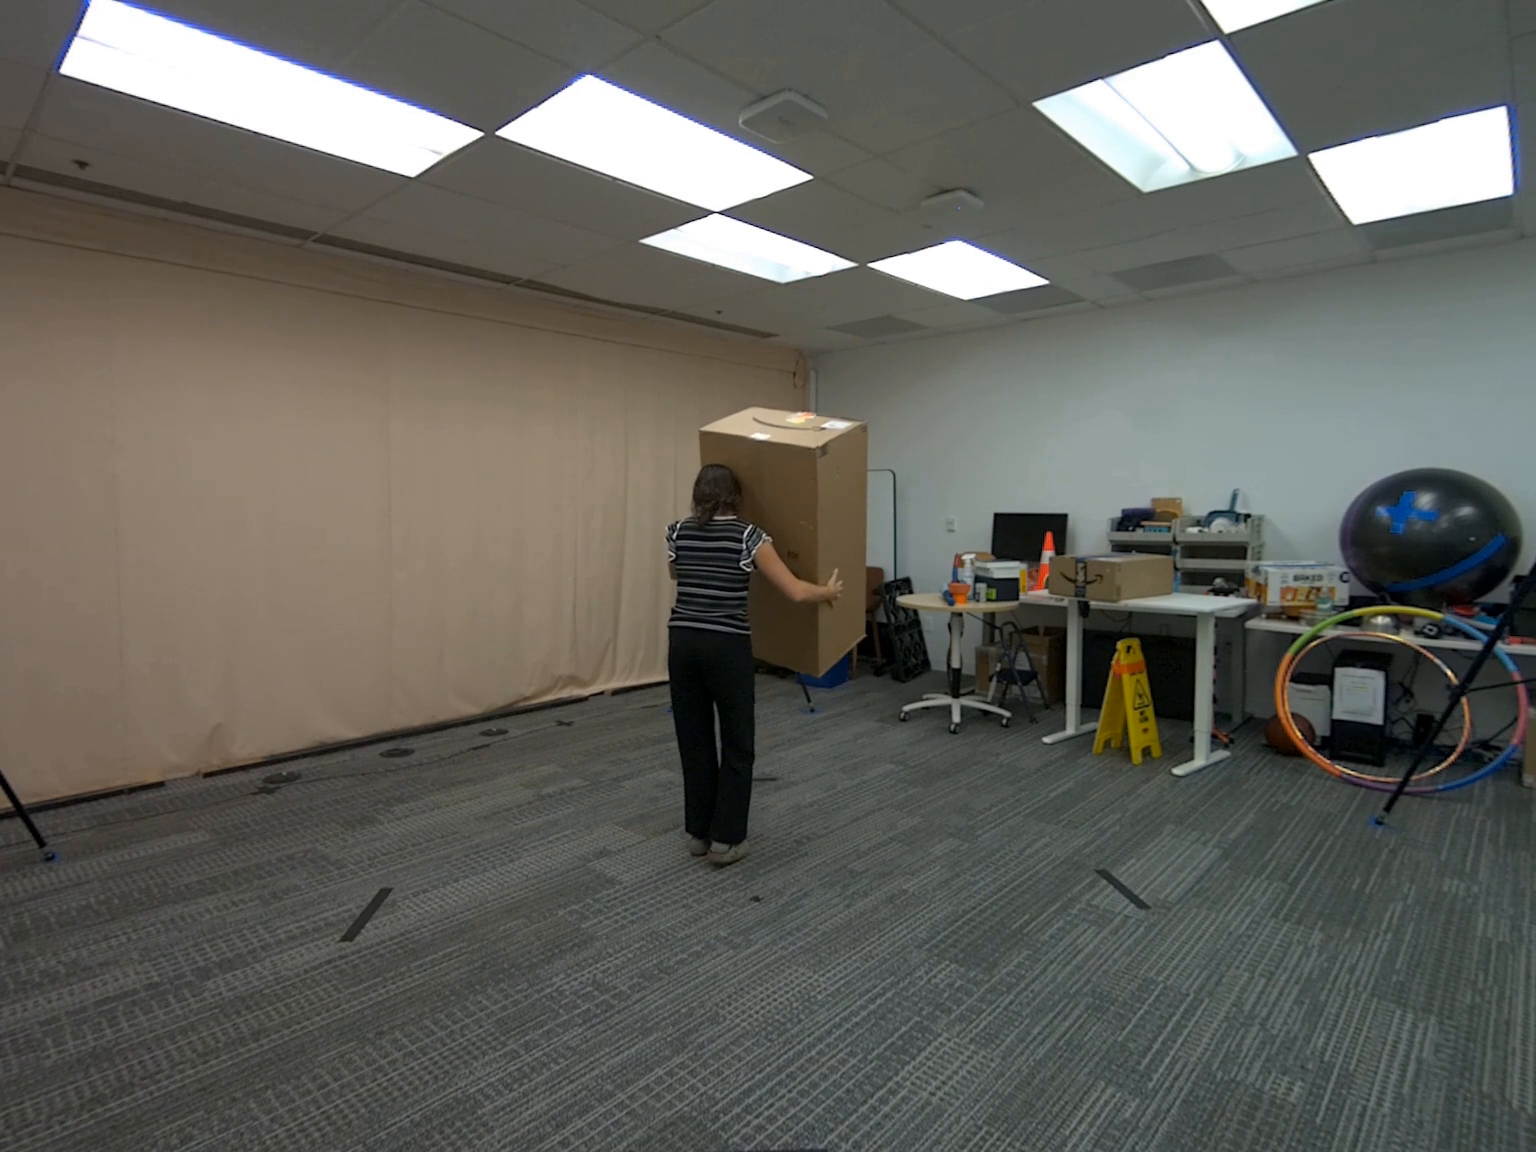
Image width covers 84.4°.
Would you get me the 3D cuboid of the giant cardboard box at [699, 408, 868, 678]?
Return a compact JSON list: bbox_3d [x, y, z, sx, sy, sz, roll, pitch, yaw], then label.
[{"bbox_3d":[0.084,-0.158,3.698,0.597,1.011,0.418,14,28,33],"label":"giant cardboard box"}]
